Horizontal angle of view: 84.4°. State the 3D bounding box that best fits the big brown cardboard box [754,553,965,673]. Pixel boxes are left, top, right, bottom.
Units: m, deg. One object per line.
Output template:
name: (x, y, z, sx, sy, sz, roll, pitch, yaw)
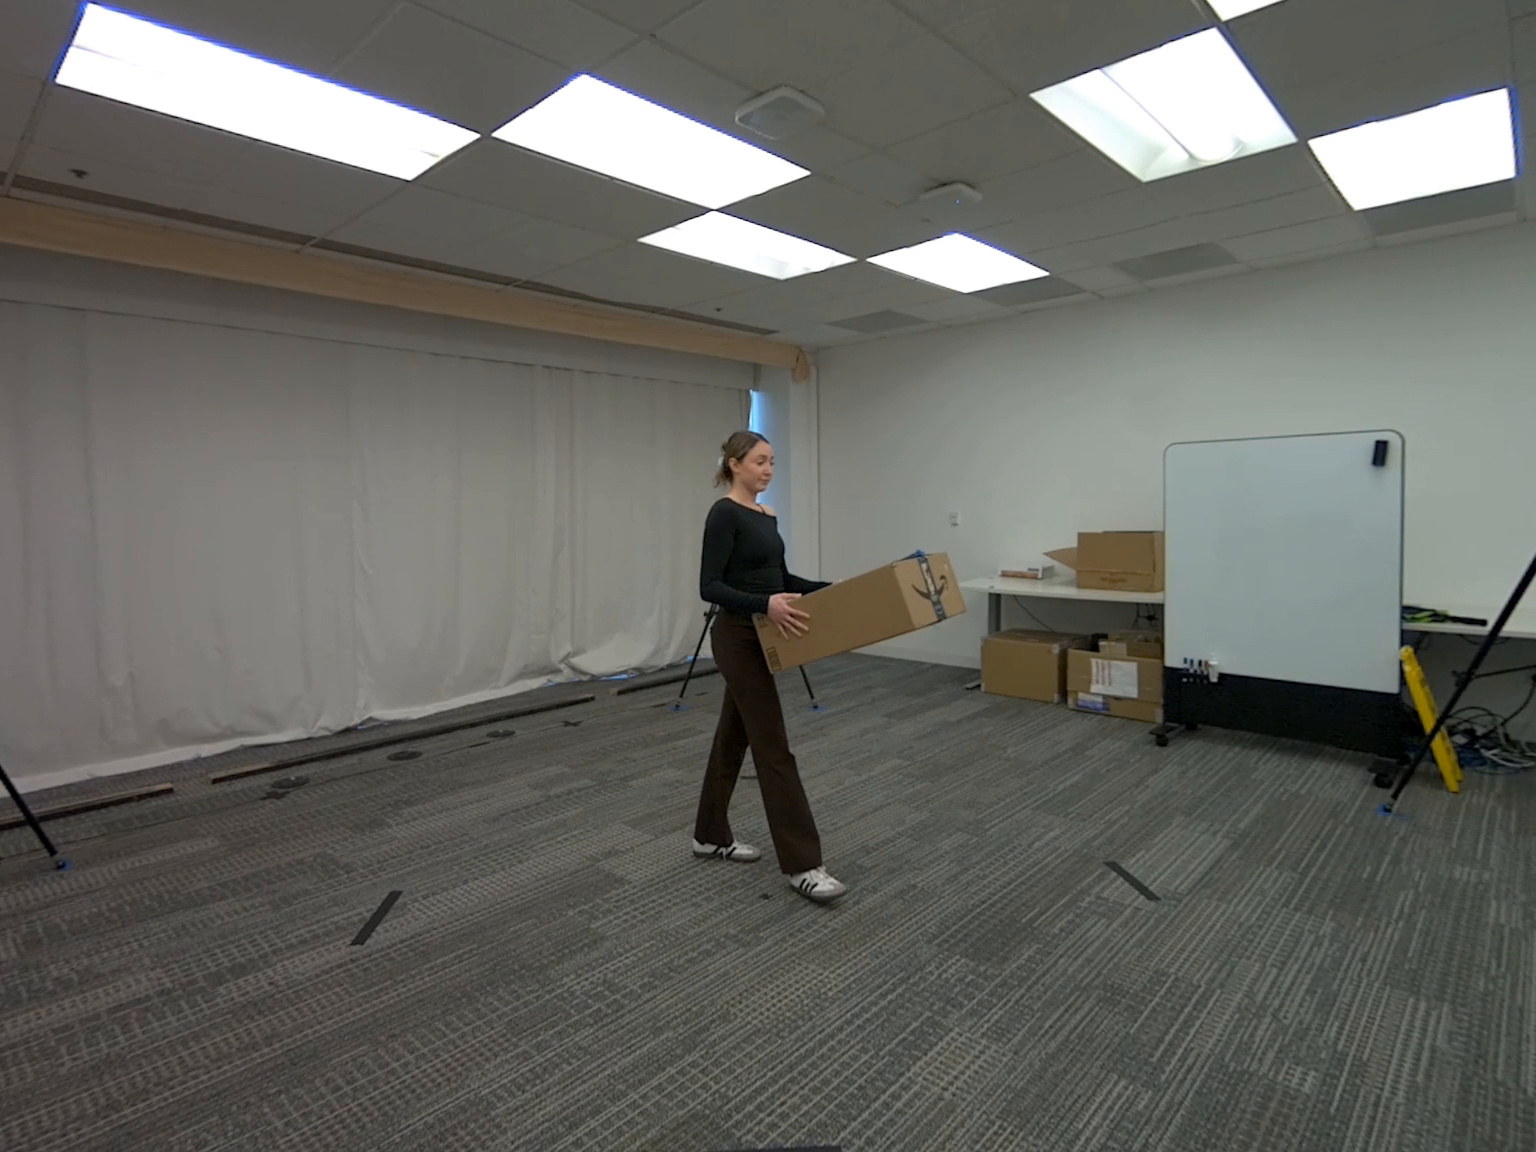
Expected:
big brown cardboard box: (0.319, 0.122, 2.862, 0.601, 0.235, 0.406, -23, -8, 35)
